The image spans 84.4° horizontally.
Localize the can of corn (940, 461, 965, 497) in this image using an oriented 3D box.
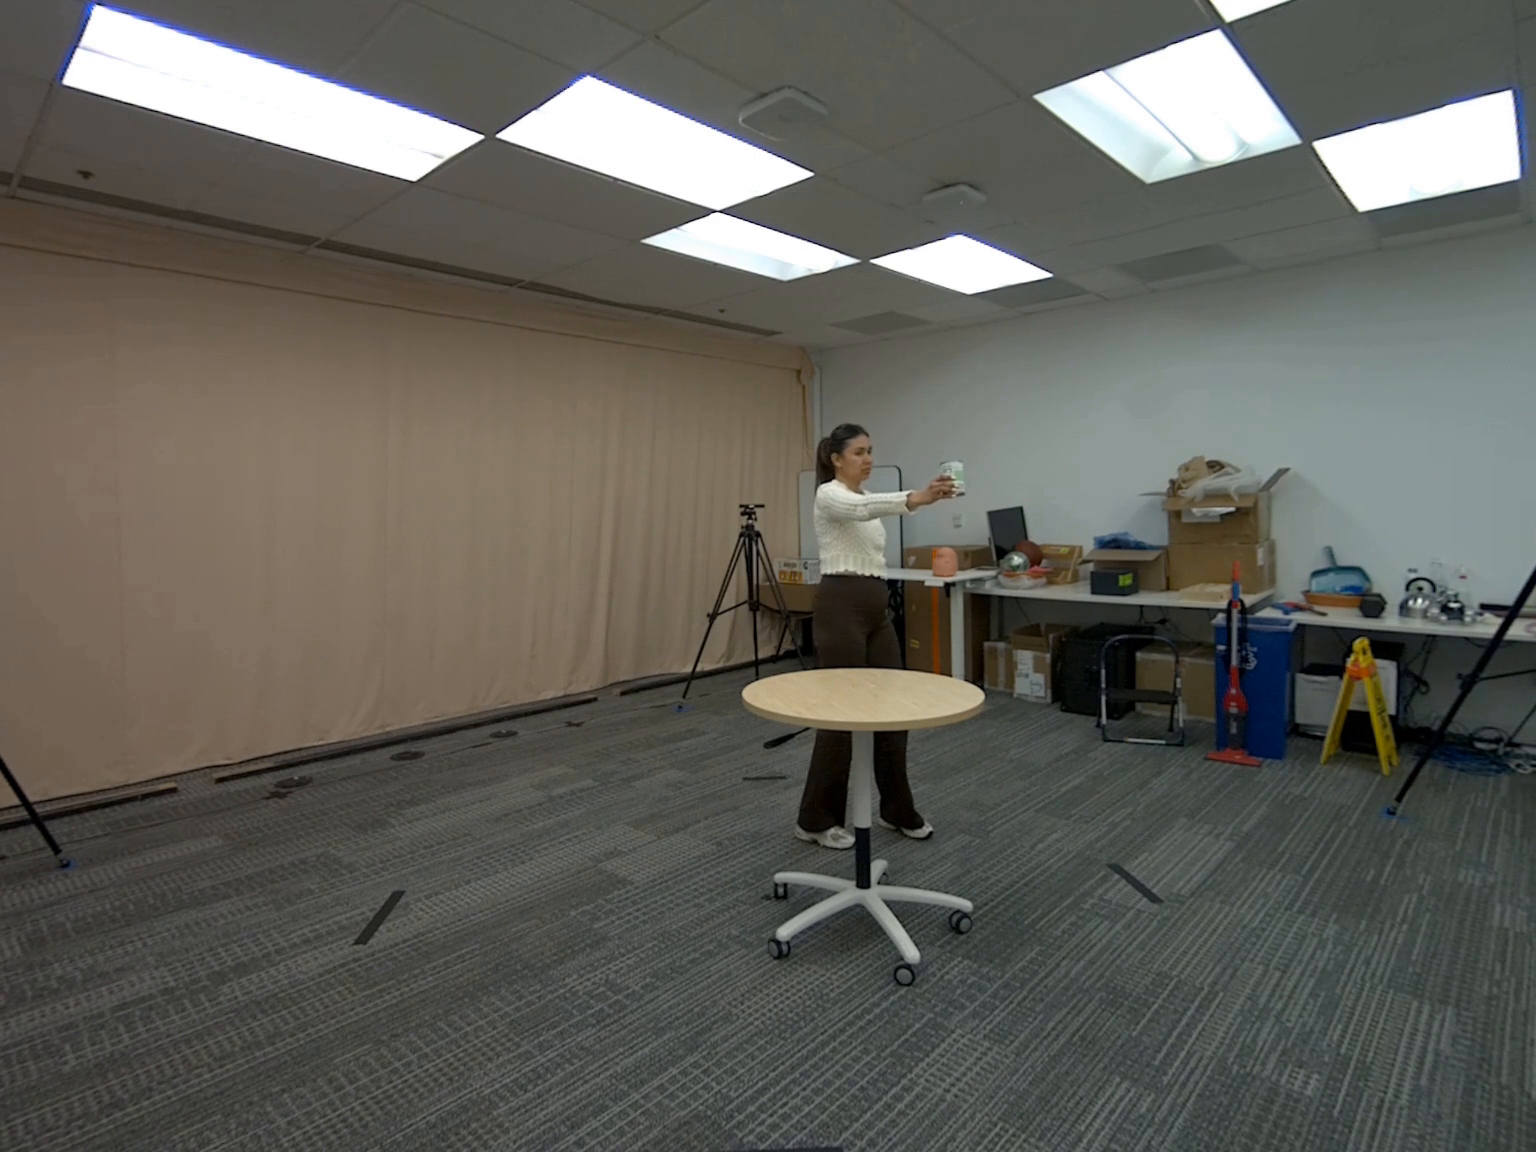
[{"bbox_3d":[0.621,-0.328,2.841,0.074,0.111,0.074,0,-6,-2],"label":"can of corn"}]
